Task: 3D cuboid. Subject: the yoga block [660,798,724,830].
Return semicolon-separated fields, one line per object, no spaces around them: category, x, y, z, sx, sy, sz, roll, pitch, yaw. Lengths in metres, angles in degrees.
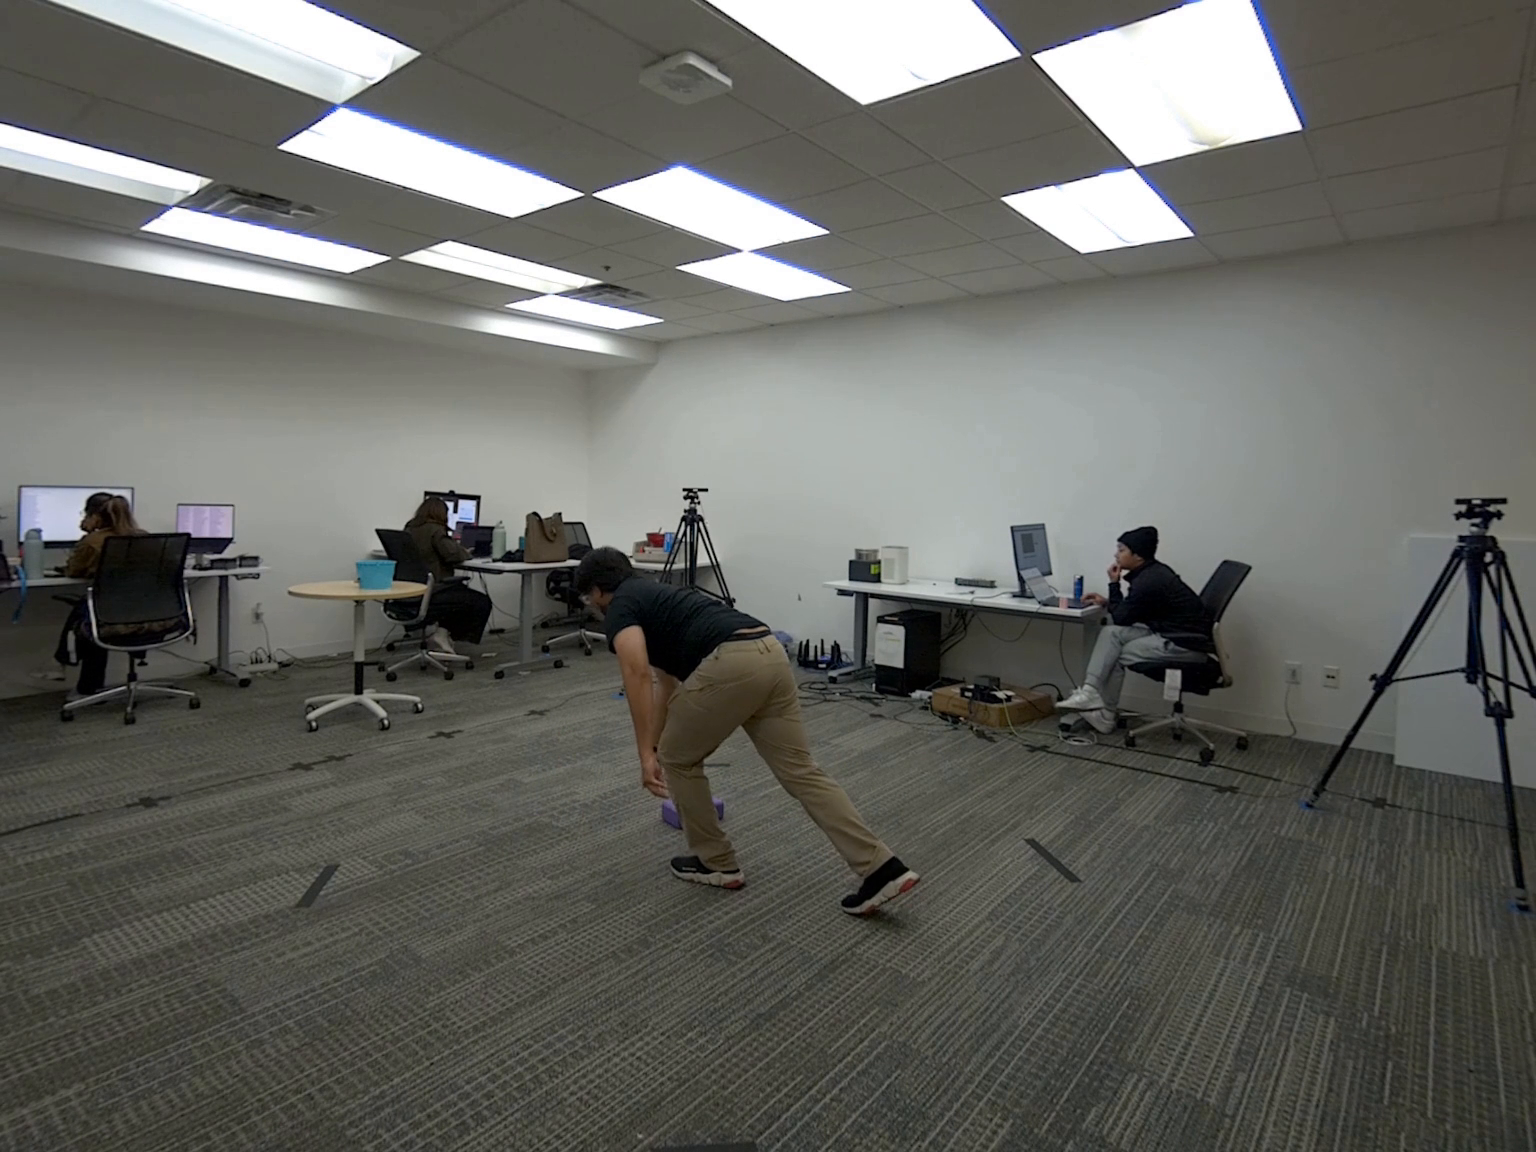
yoga block;-0.327;0.977;3.582;0.222;0.076;0.154;-3;6;-38
